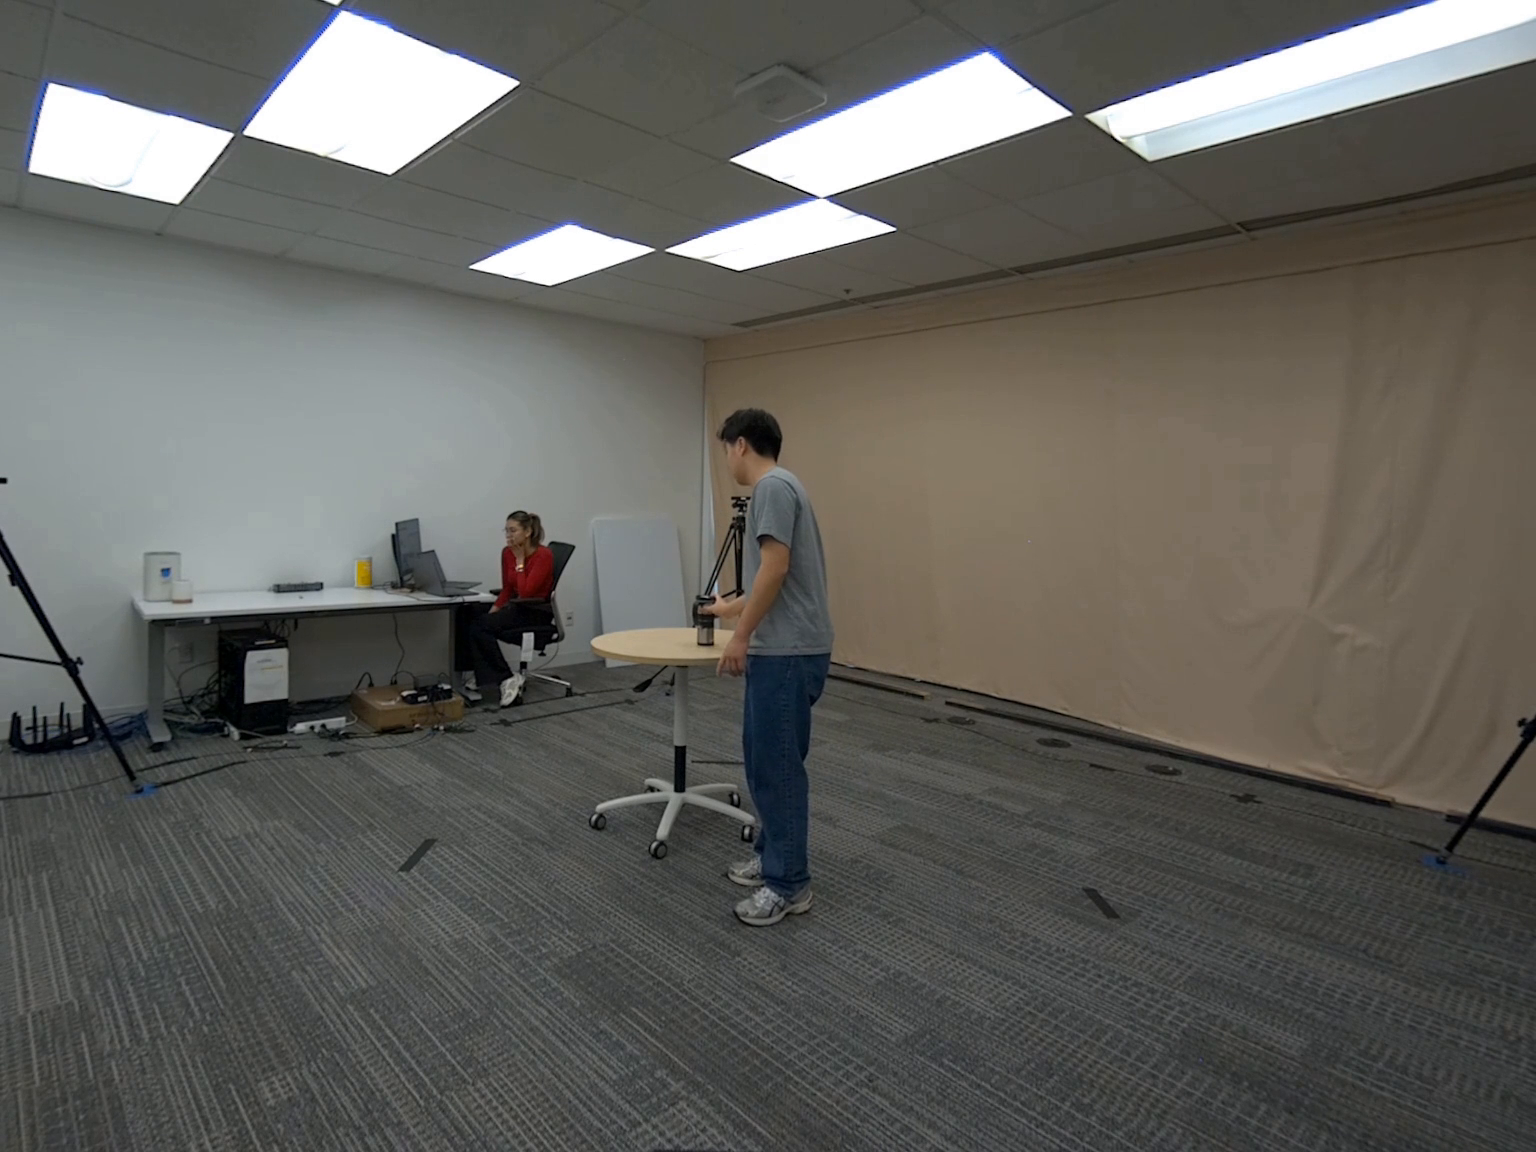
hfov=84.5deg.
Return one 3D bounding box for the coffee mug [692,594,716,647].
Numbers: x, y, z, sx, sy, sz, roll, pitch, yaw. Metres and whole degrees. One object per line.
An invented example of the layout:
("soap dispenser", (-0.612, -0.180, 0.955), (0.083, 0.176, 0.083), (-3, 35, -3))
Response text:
("coffee mug", (-0.282, 0.186, 3.474), (0.119, 0.202, 0.090), (2, 7, -36))
